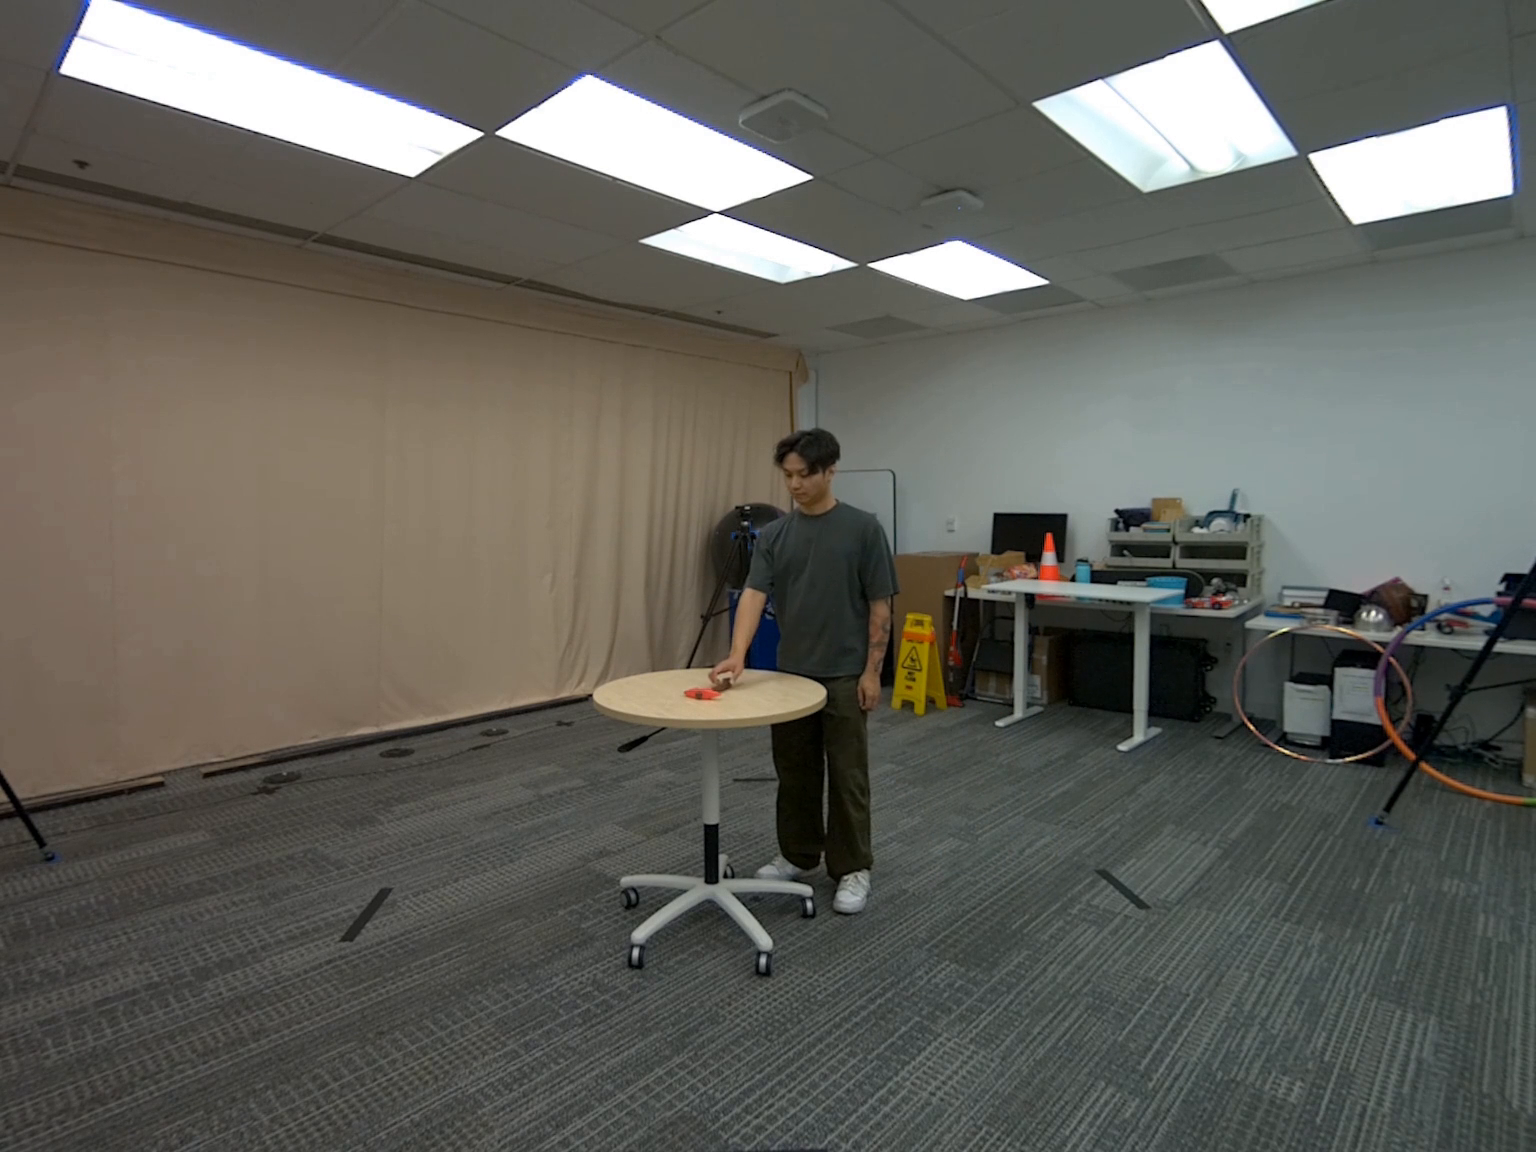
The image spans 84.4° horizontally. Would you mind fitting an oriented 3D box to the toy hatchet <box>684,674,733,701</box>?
[{"bbox_3d":[-0.193,0.369,2.771,0.132,0.029,0.268,-4,1,6],"label":"toy hatchet"}]
